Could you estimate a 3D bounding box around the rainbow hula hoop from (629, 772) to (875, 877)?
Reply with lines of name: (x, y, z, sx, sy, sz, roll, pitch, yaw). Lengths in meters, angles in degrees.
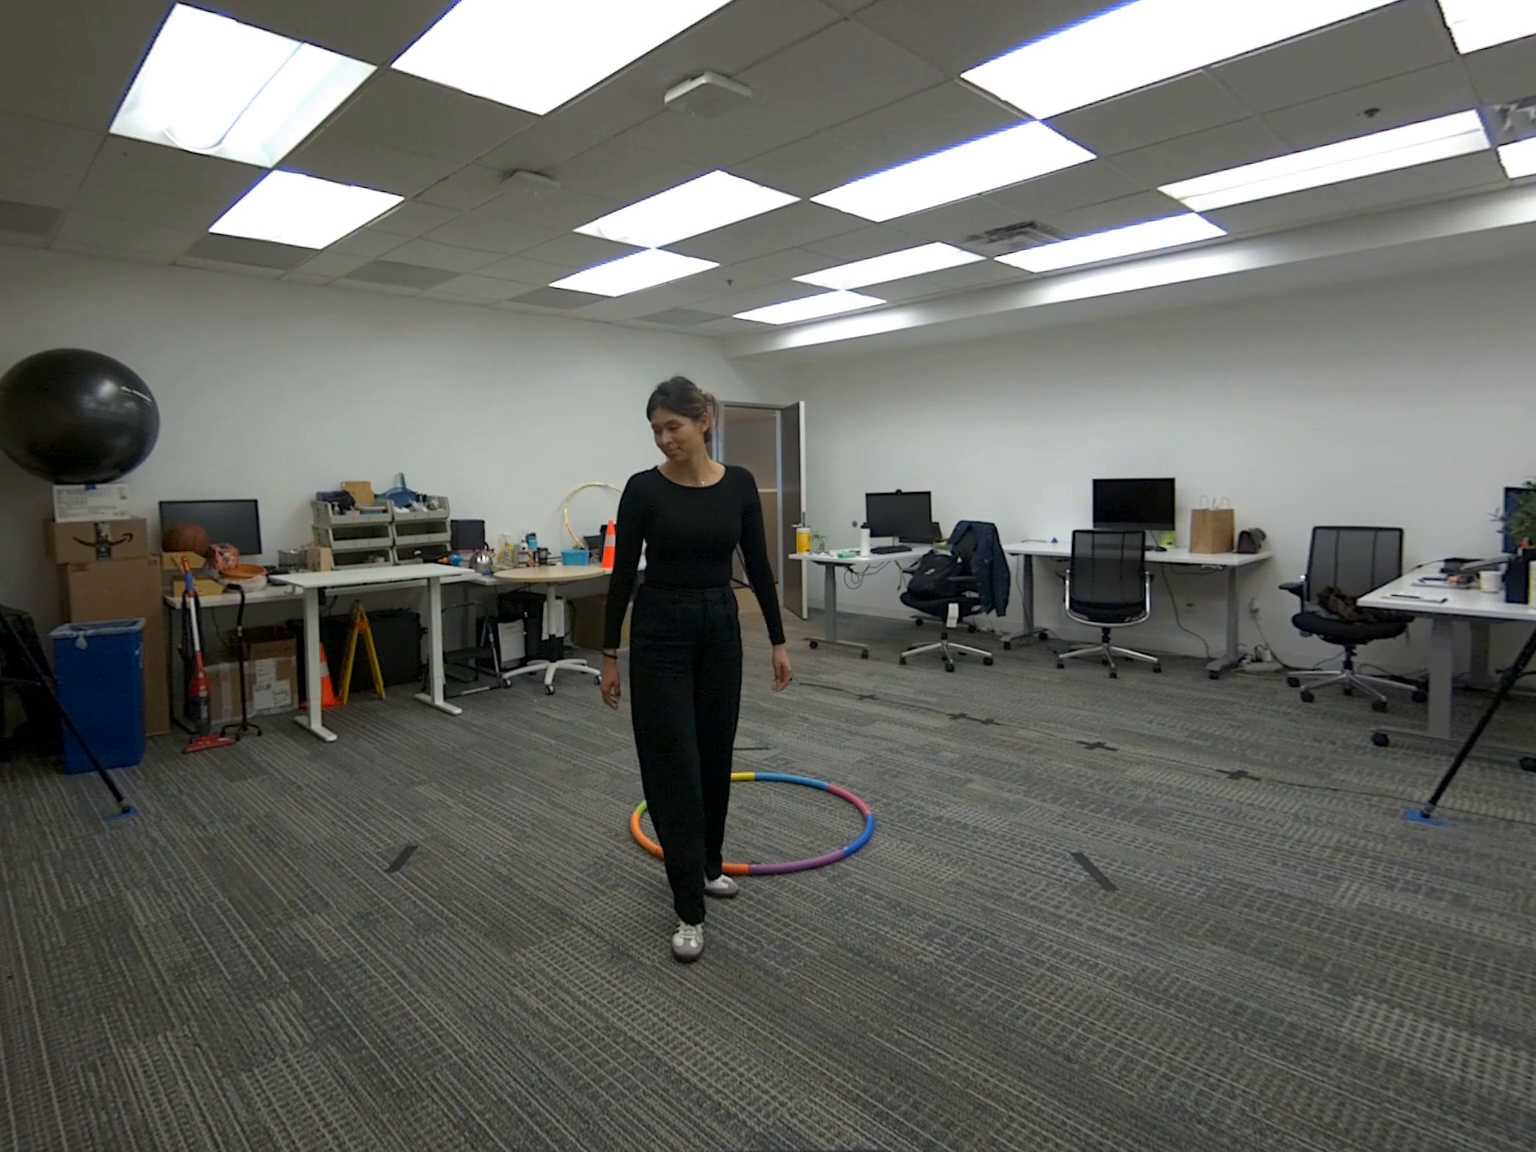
rainbow hula hoop: (-0.067, 0.968, 3.485, 0.978, 0.035, 0.984, -1, 7, -2)
